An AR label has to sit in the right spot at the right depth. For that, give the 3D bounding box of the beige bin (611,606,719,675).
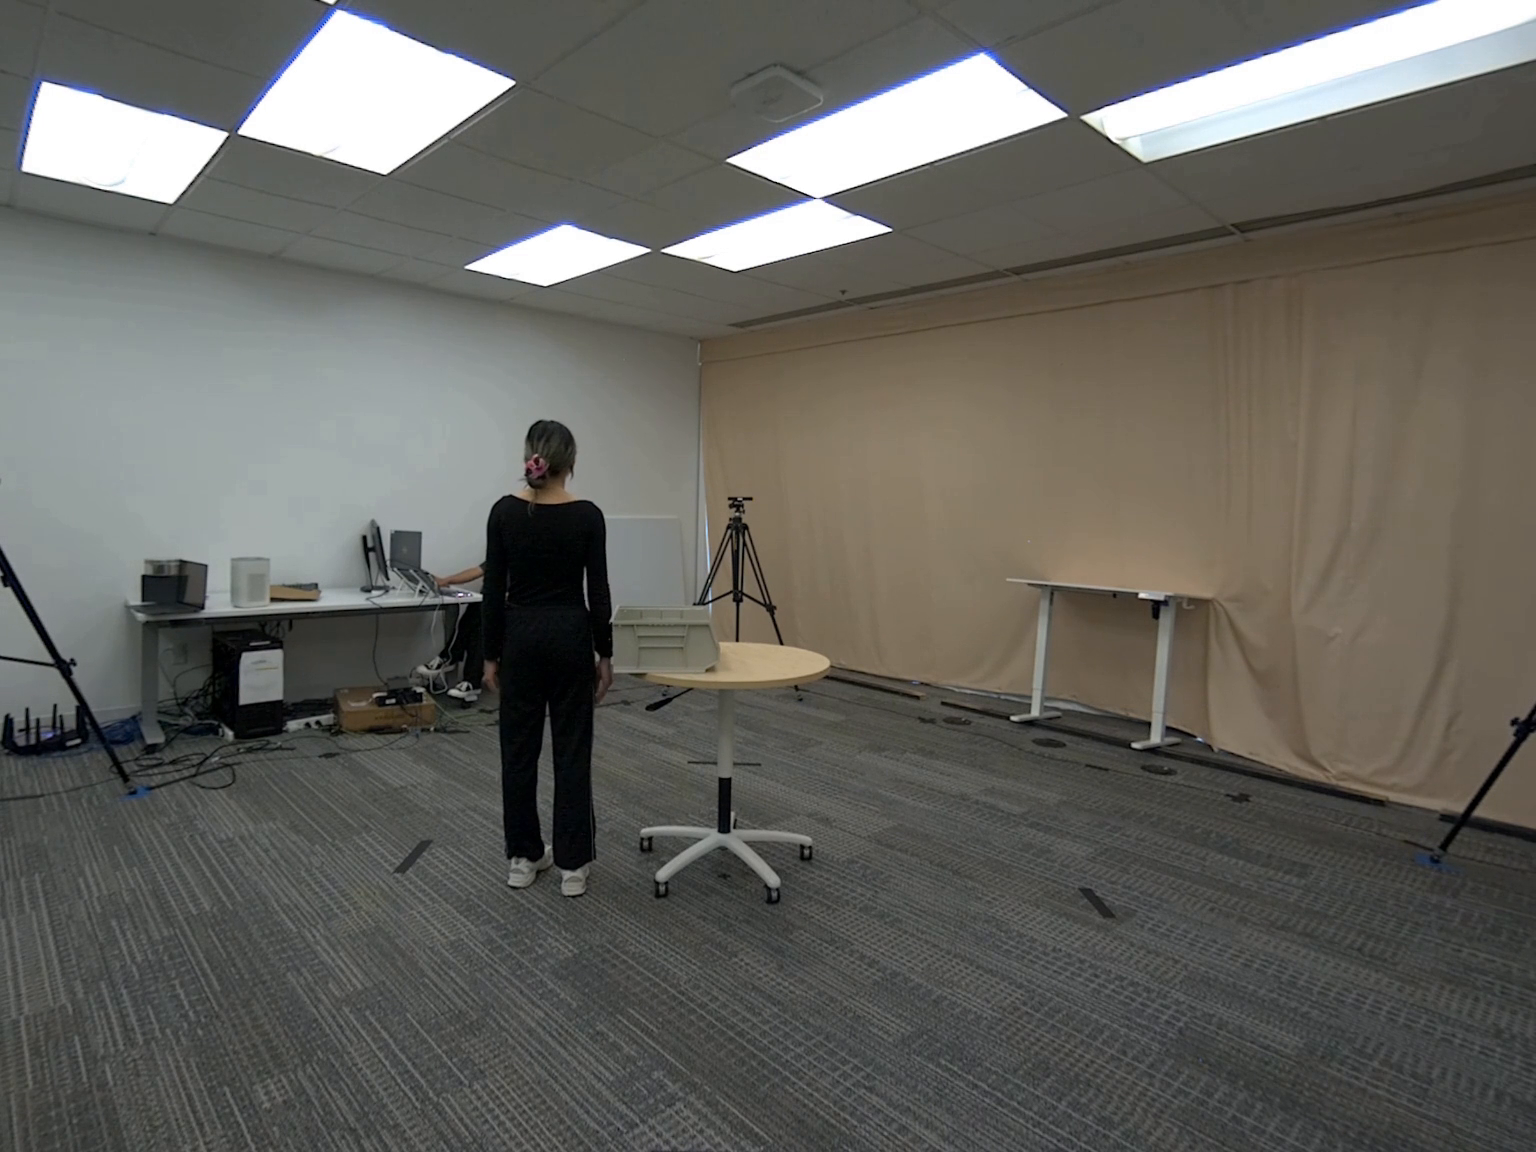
[{"bbox_3d":[-0.374,0.224,3.072,0.376,0.188,0.425,0,5,-6],"label":"beige bin"}]
